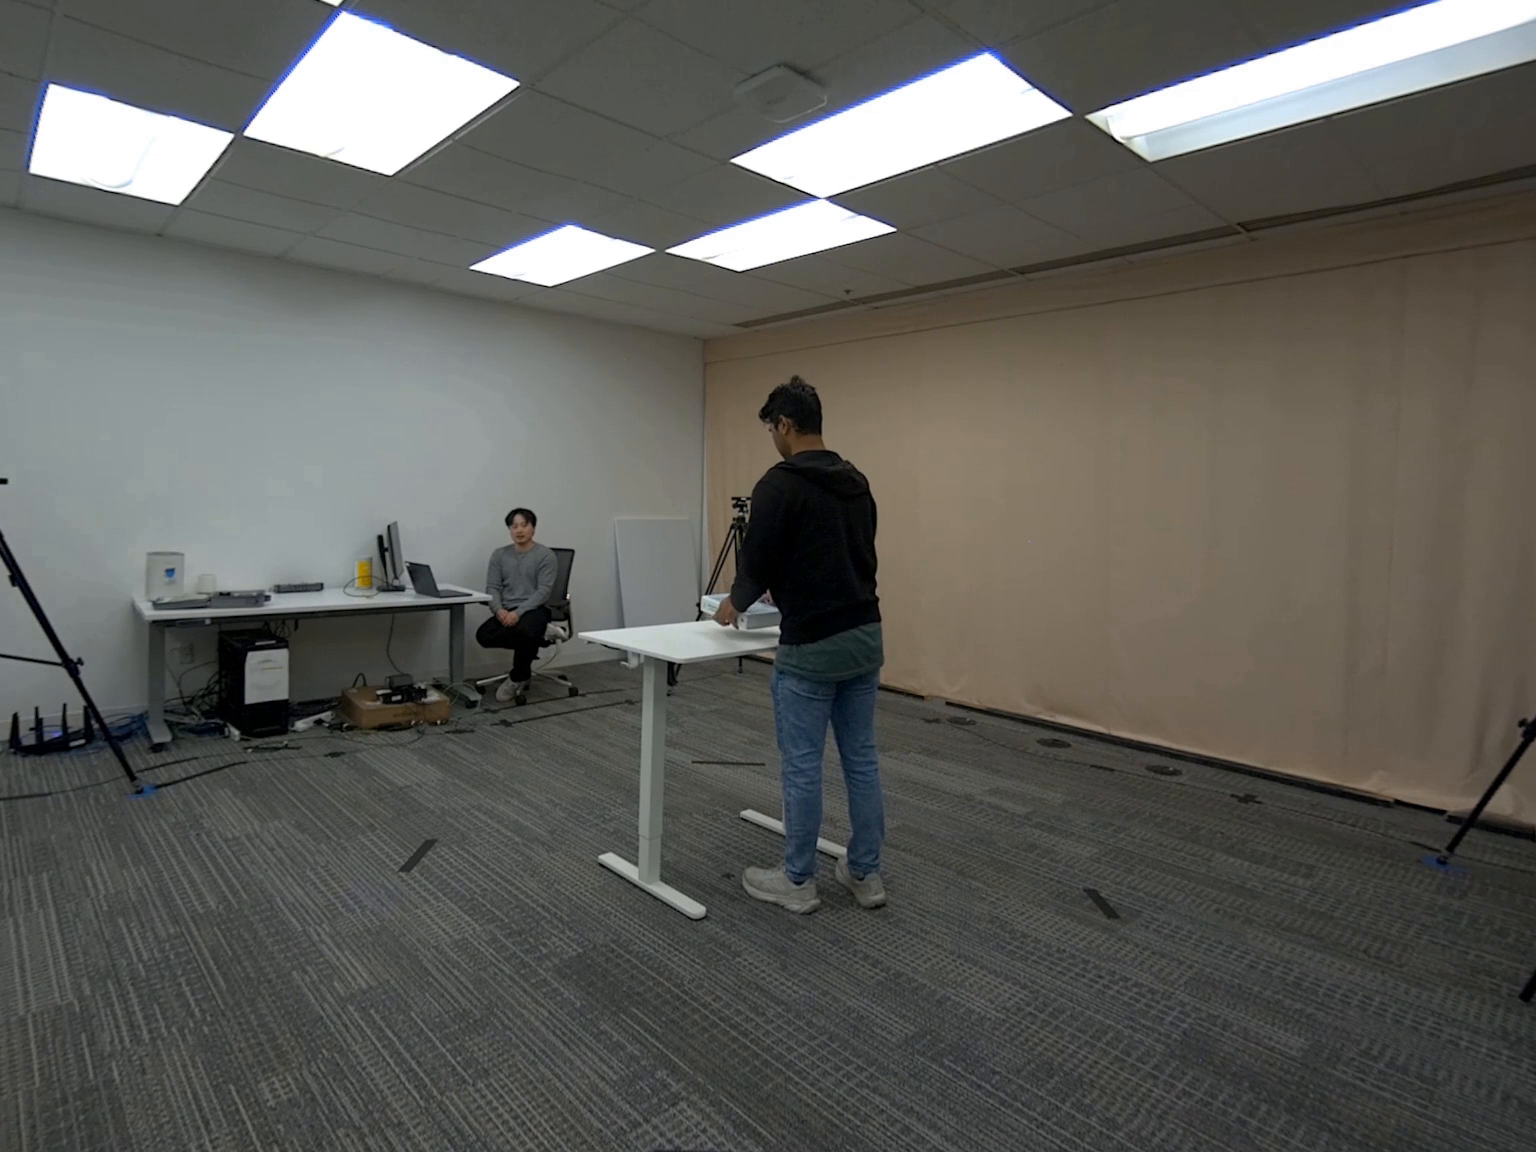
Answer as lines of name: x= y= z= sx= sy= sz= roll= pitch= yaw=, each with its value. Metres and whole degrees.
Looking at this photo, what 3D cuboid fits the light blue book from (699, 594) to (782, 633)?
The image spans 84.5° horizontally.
light blue book: x=-0.106 y=0.128 z=3.144 sx=0.187 sy=0.058 sz=0.269 roll=-4 pitch=16 yaw=-42
